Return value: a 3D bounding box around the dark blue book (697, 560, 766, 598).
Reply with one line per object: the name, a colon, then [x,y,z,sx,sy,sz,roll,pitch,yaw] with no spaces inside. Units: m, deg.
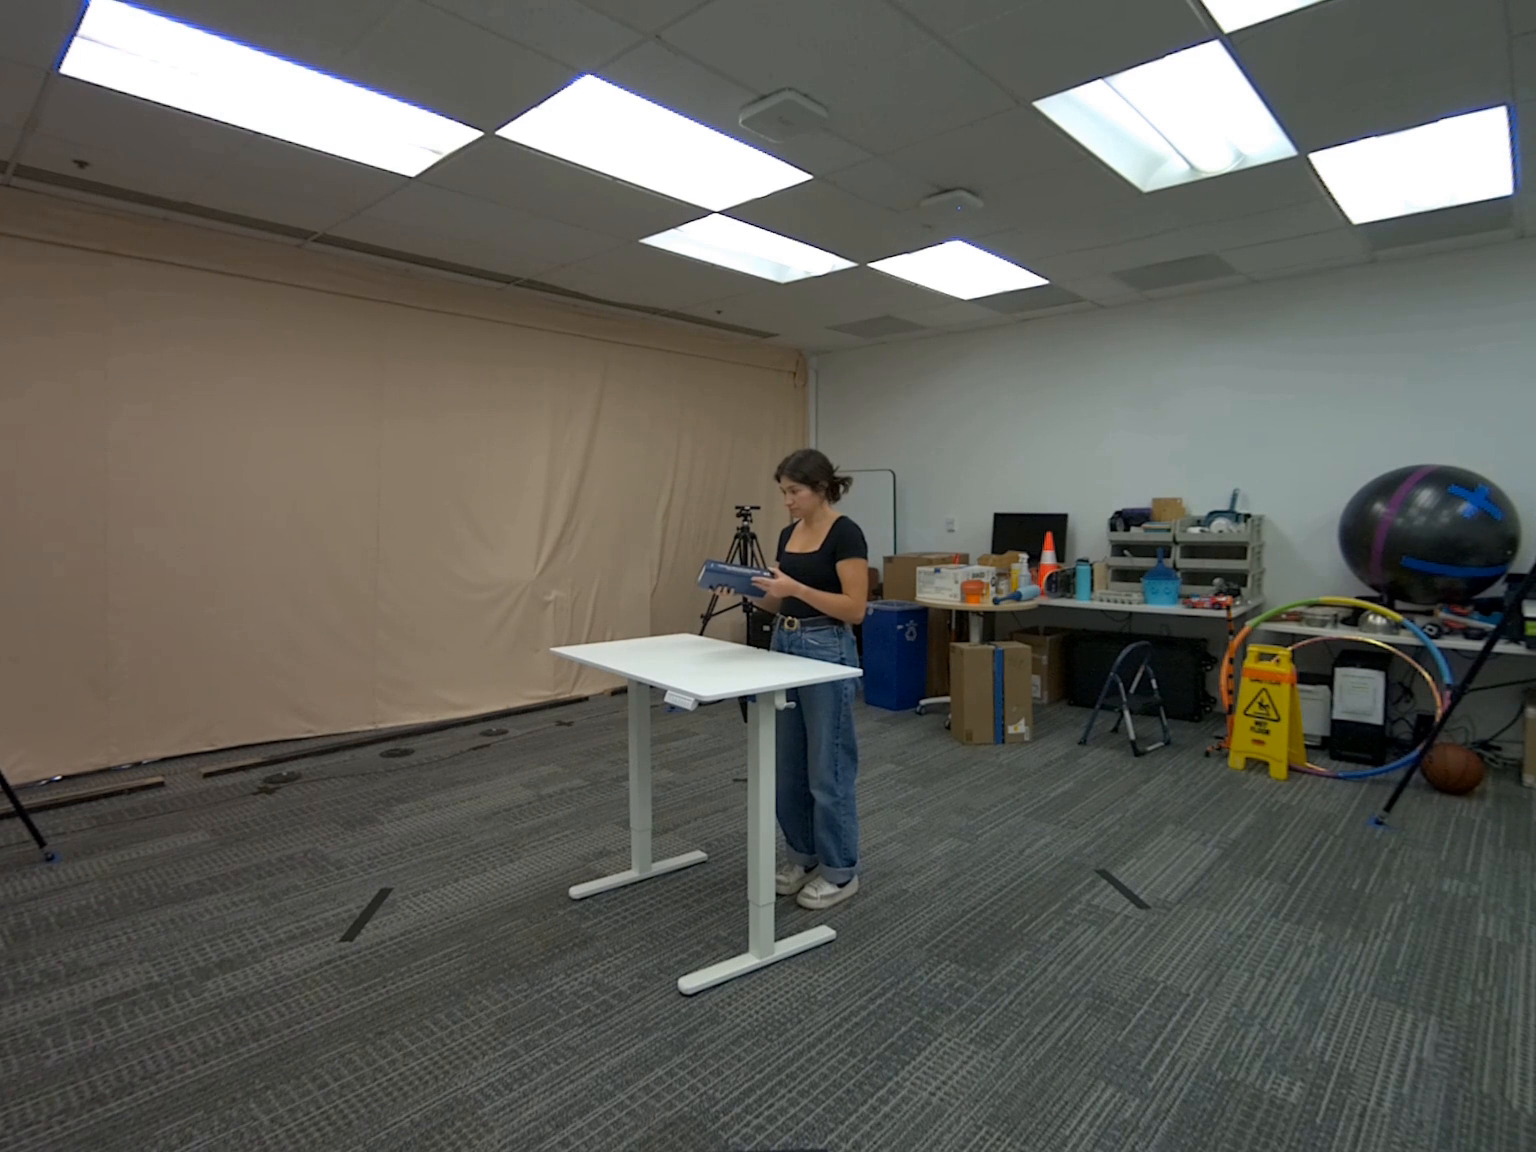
dark blue book: [-0.108,0.015,2.961,0.242,0.046,0.163,10,-26,-11]
